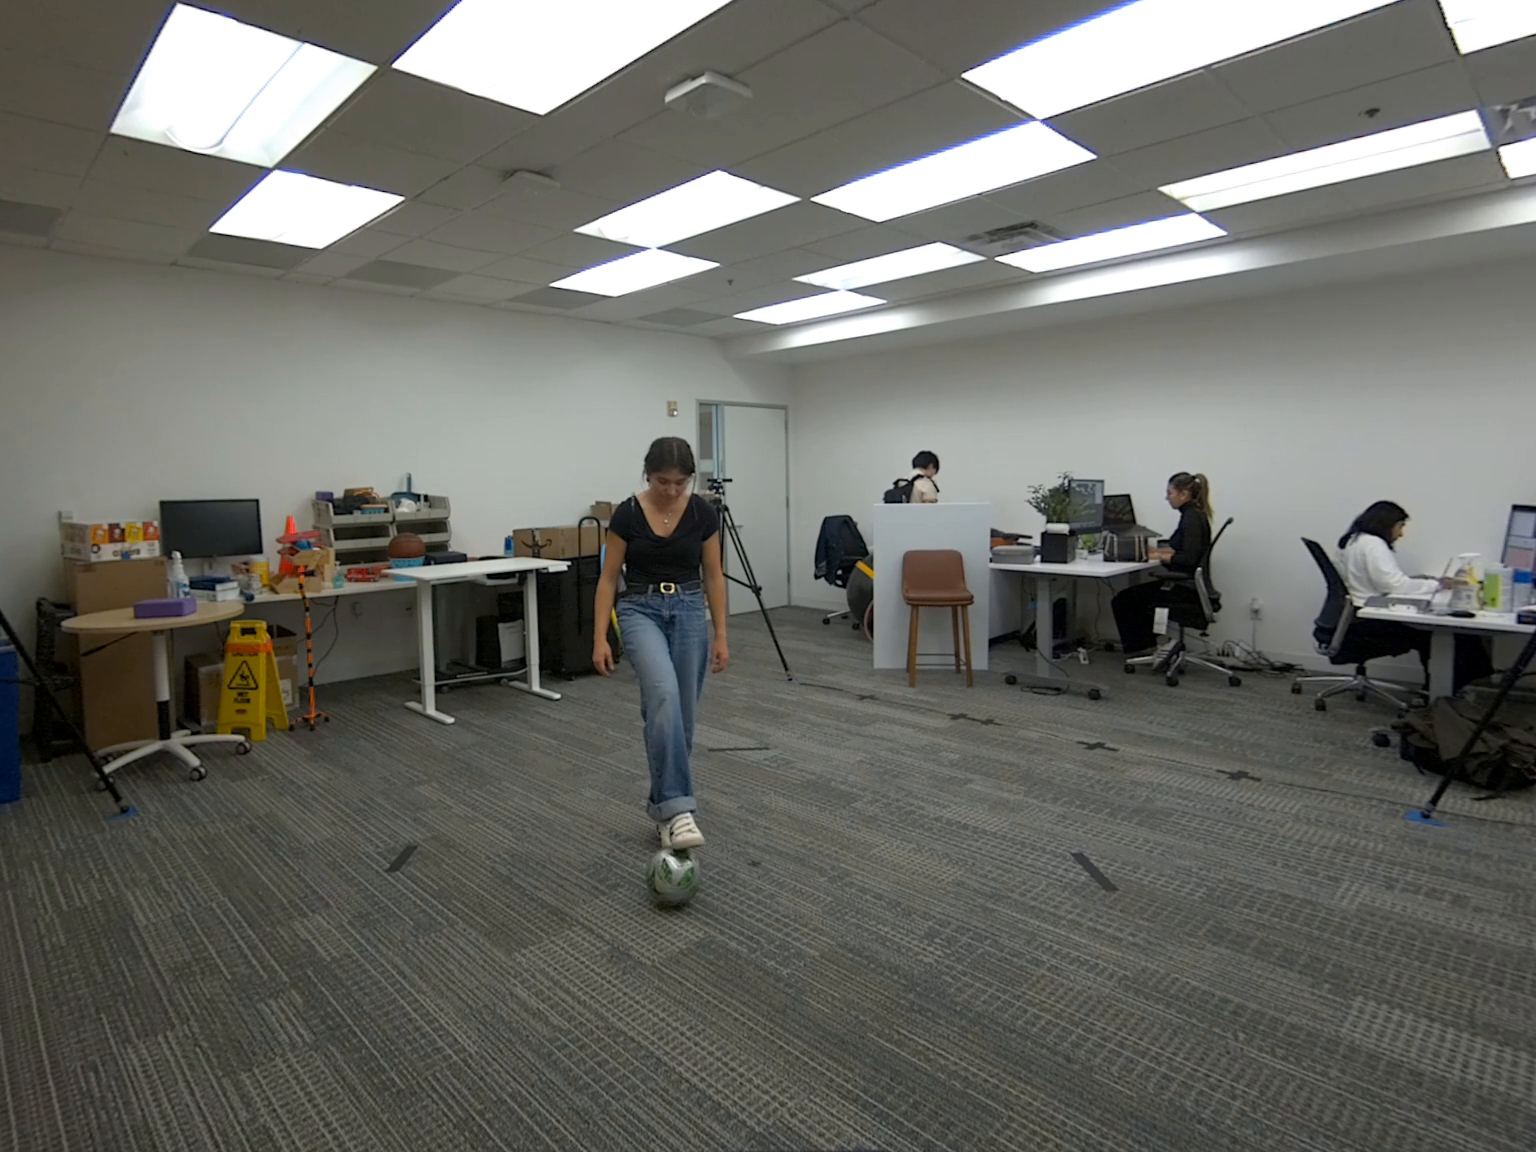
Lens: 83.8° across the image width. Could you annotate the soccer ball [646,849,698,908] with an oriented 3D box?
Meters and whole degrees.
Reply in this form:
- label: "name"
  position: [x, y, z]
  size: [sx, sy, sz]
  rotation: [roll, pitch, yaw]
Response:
- label: "soccer ball"
  position: [-0.310, 0.994, 2.831]
  size: [0.187, 0.187, 0.188]
  rotation: [-1, 5, -2]
